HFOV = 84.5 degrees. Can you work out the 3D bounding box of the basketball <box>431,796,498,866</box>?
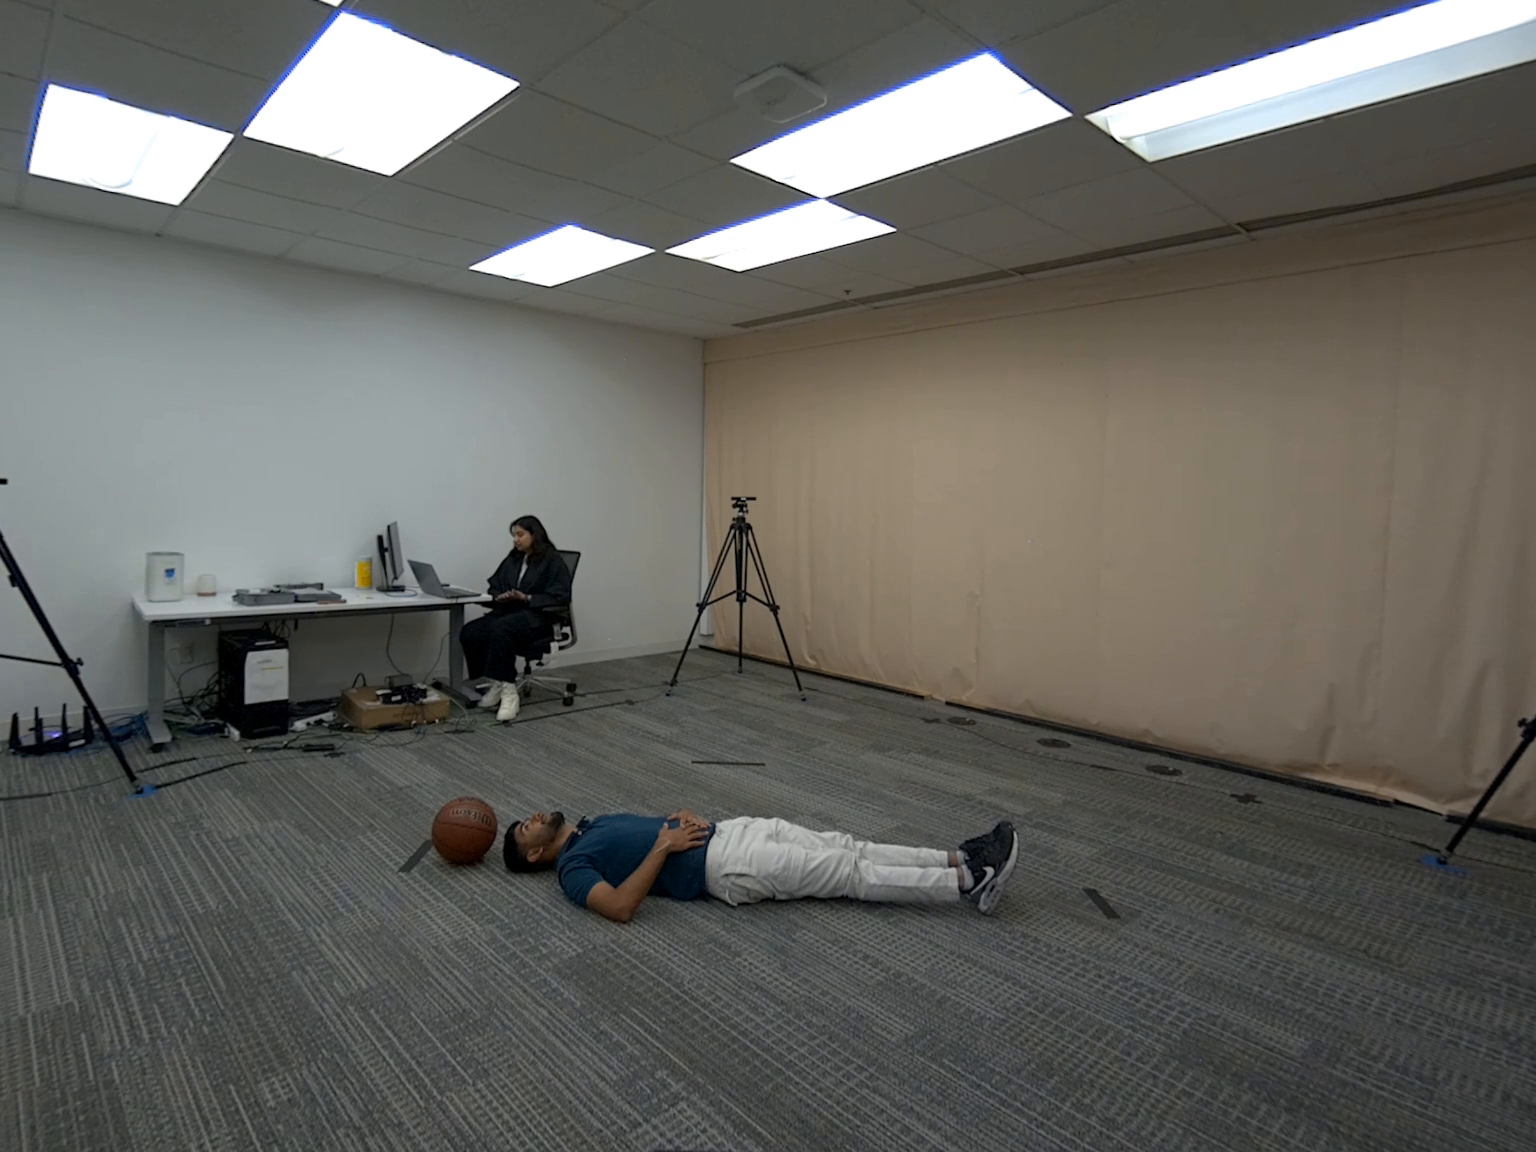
[{"bbox_3d":[-1.156,0.958,3.178,0.236,0.235,0.237,1,4,-1],"label":"basketball"}]
